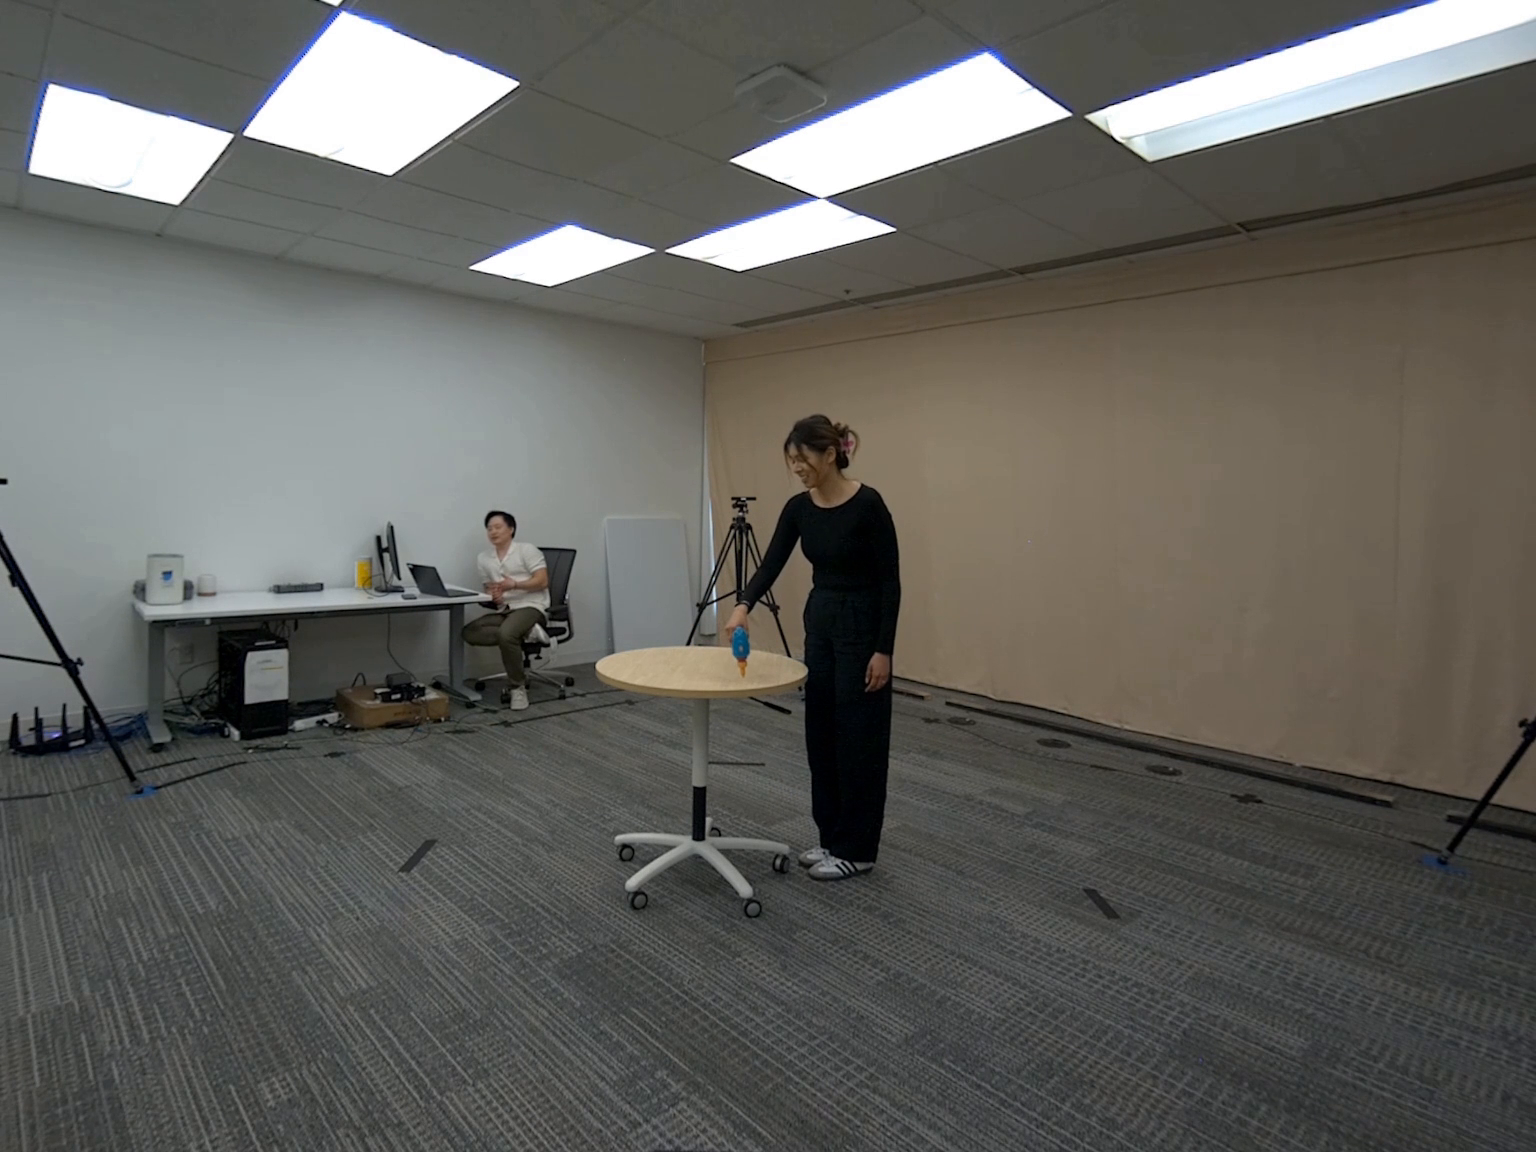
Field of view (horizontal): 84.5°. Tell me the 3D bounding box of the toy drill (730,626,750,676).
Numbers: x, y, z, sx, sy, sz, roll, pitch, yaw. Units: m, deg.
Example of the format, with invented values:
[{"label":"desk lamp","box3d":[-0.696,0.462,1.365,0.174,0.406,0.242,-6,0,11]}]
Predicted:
[{"label":"toy drill","box3d":[-0.106,0.248,2.866,0.061,0.169,0.147,-9,8,0]}]
